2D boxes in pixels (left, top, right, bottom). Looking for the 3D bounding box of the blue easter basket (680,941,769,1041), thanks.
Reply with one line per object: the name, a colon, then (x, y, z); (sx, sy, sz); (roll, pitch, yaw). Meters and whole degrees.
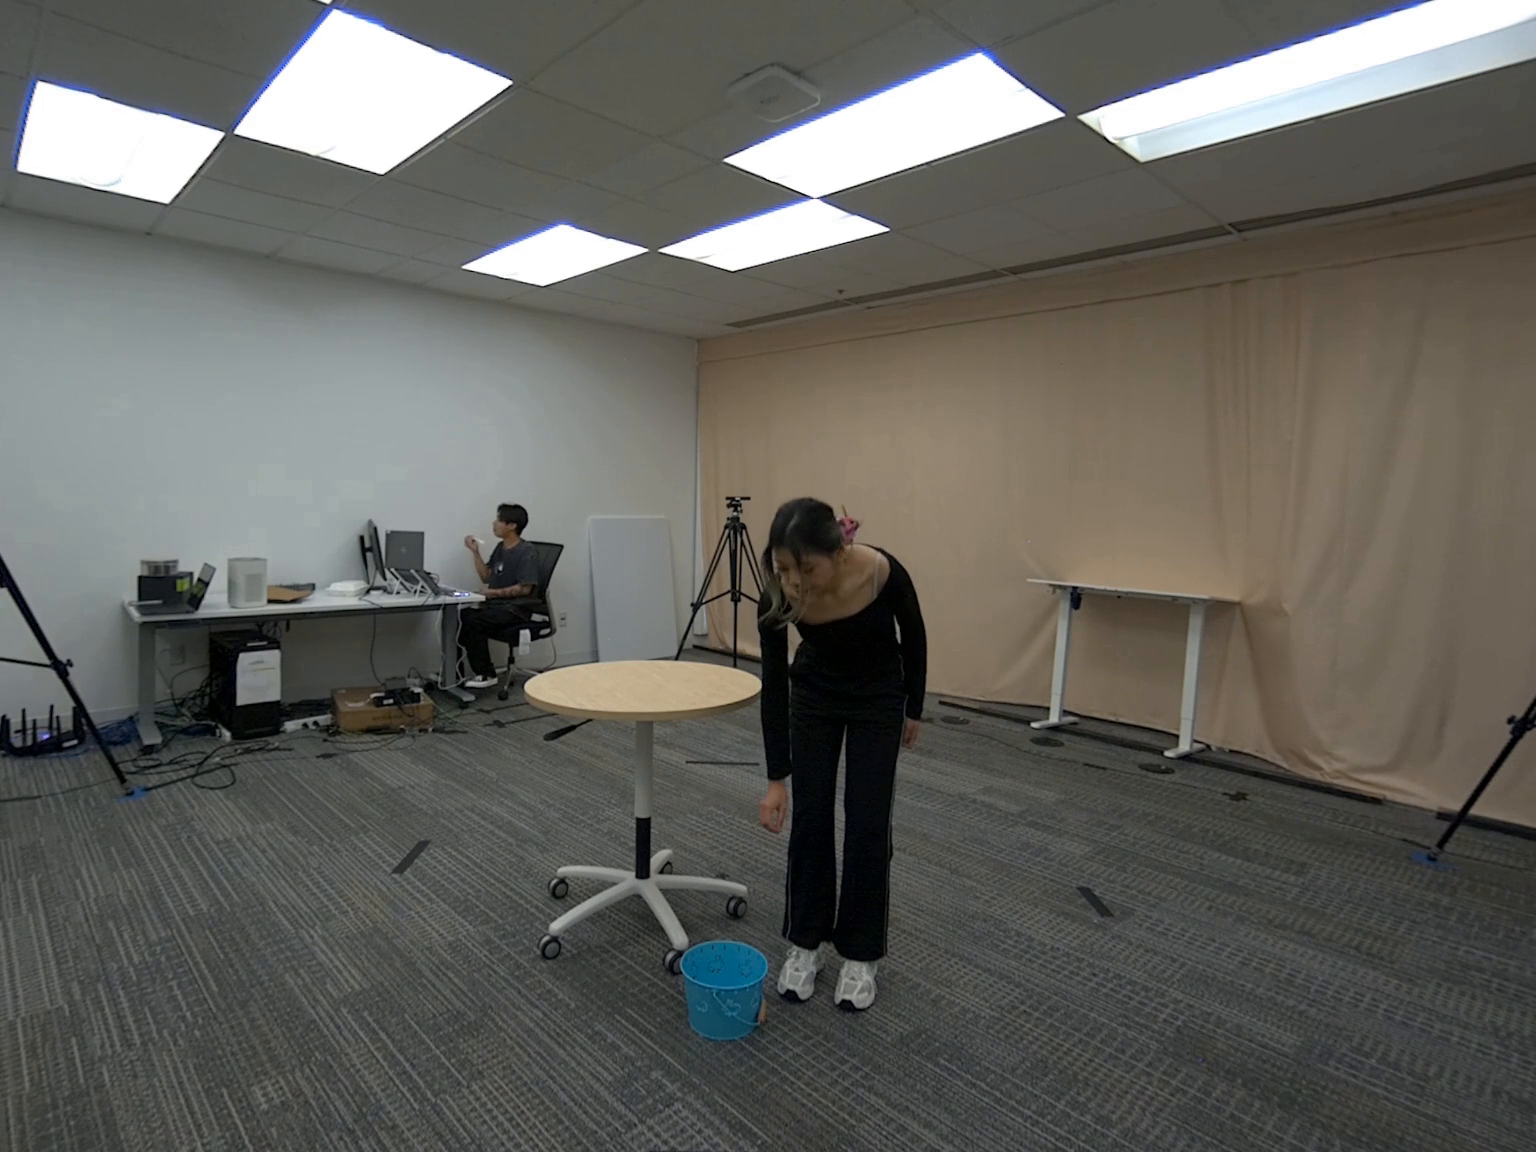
blue easter basket: (-0.125, 1.110, 2.241); (0.243, 0.155, 0.244); (1, 5, -1)
